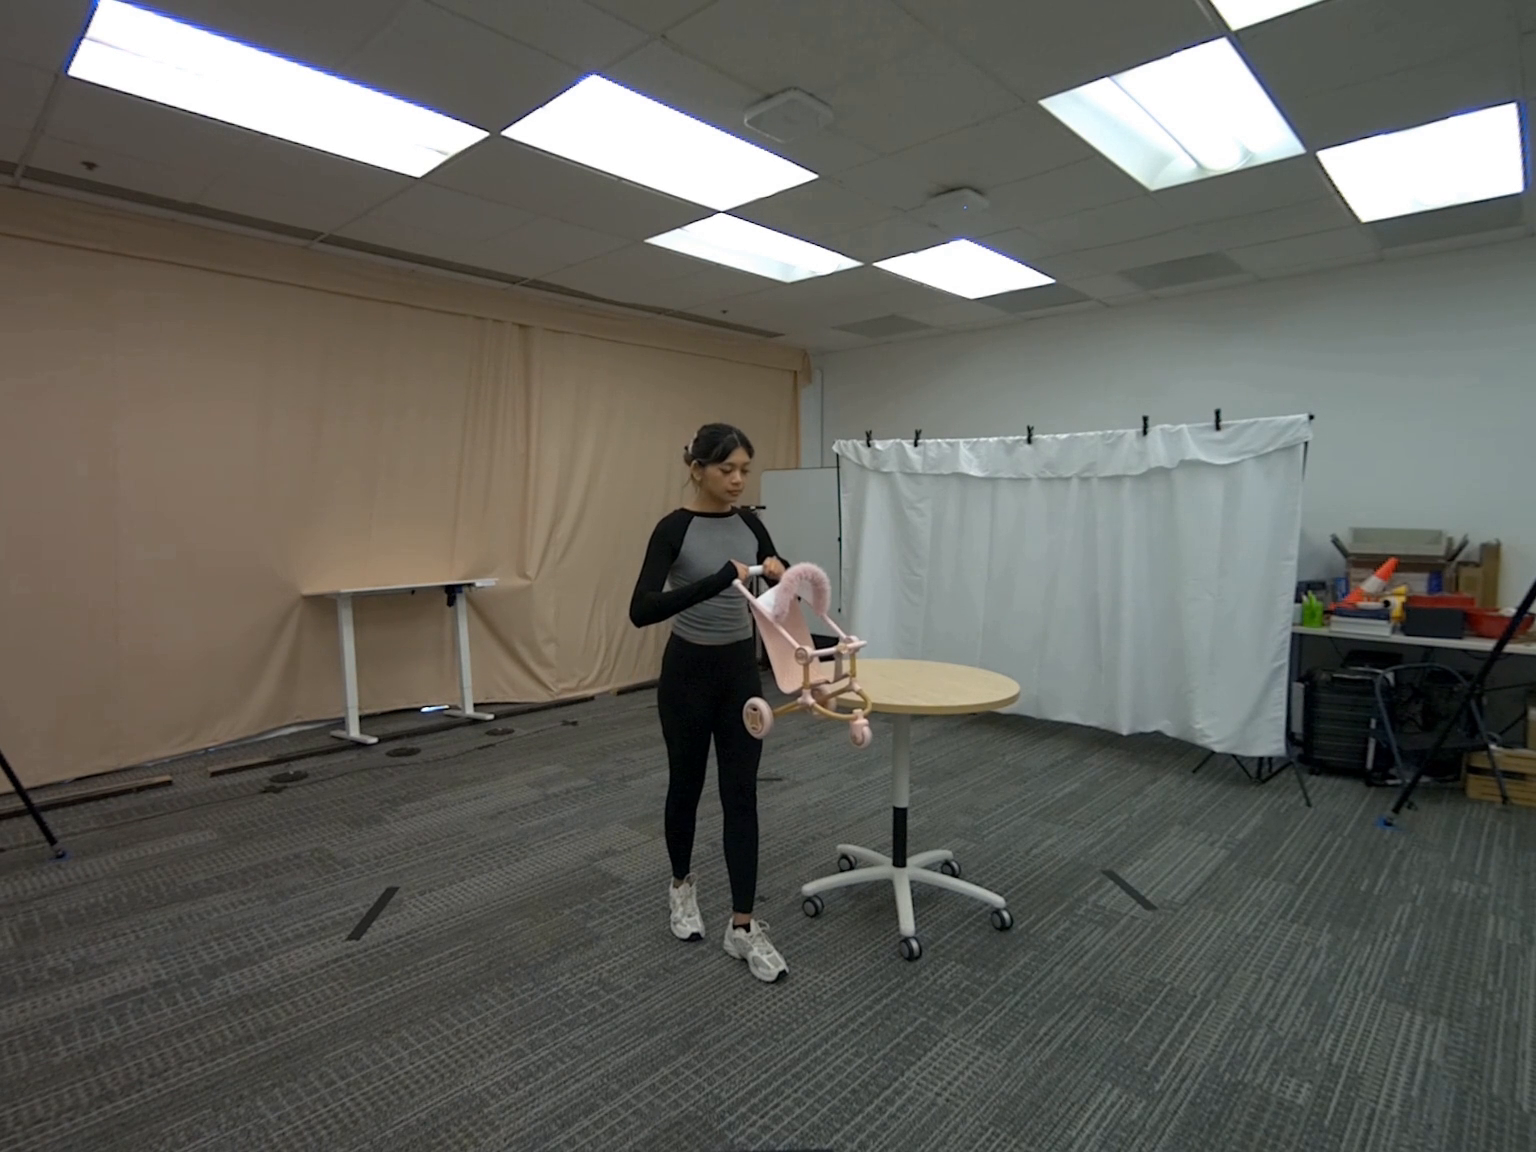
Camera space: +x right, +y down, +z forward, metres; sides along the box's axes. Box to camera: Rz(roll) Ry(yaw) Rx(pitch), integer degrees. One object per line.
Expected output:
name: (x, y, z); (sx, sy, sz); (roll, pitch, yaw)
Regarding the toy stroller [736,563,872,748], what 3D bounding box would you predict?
toy stroller: (0.105, 0.204, 2.278); (0.273, 0.538, 0.350); (-5, -8, -39)
